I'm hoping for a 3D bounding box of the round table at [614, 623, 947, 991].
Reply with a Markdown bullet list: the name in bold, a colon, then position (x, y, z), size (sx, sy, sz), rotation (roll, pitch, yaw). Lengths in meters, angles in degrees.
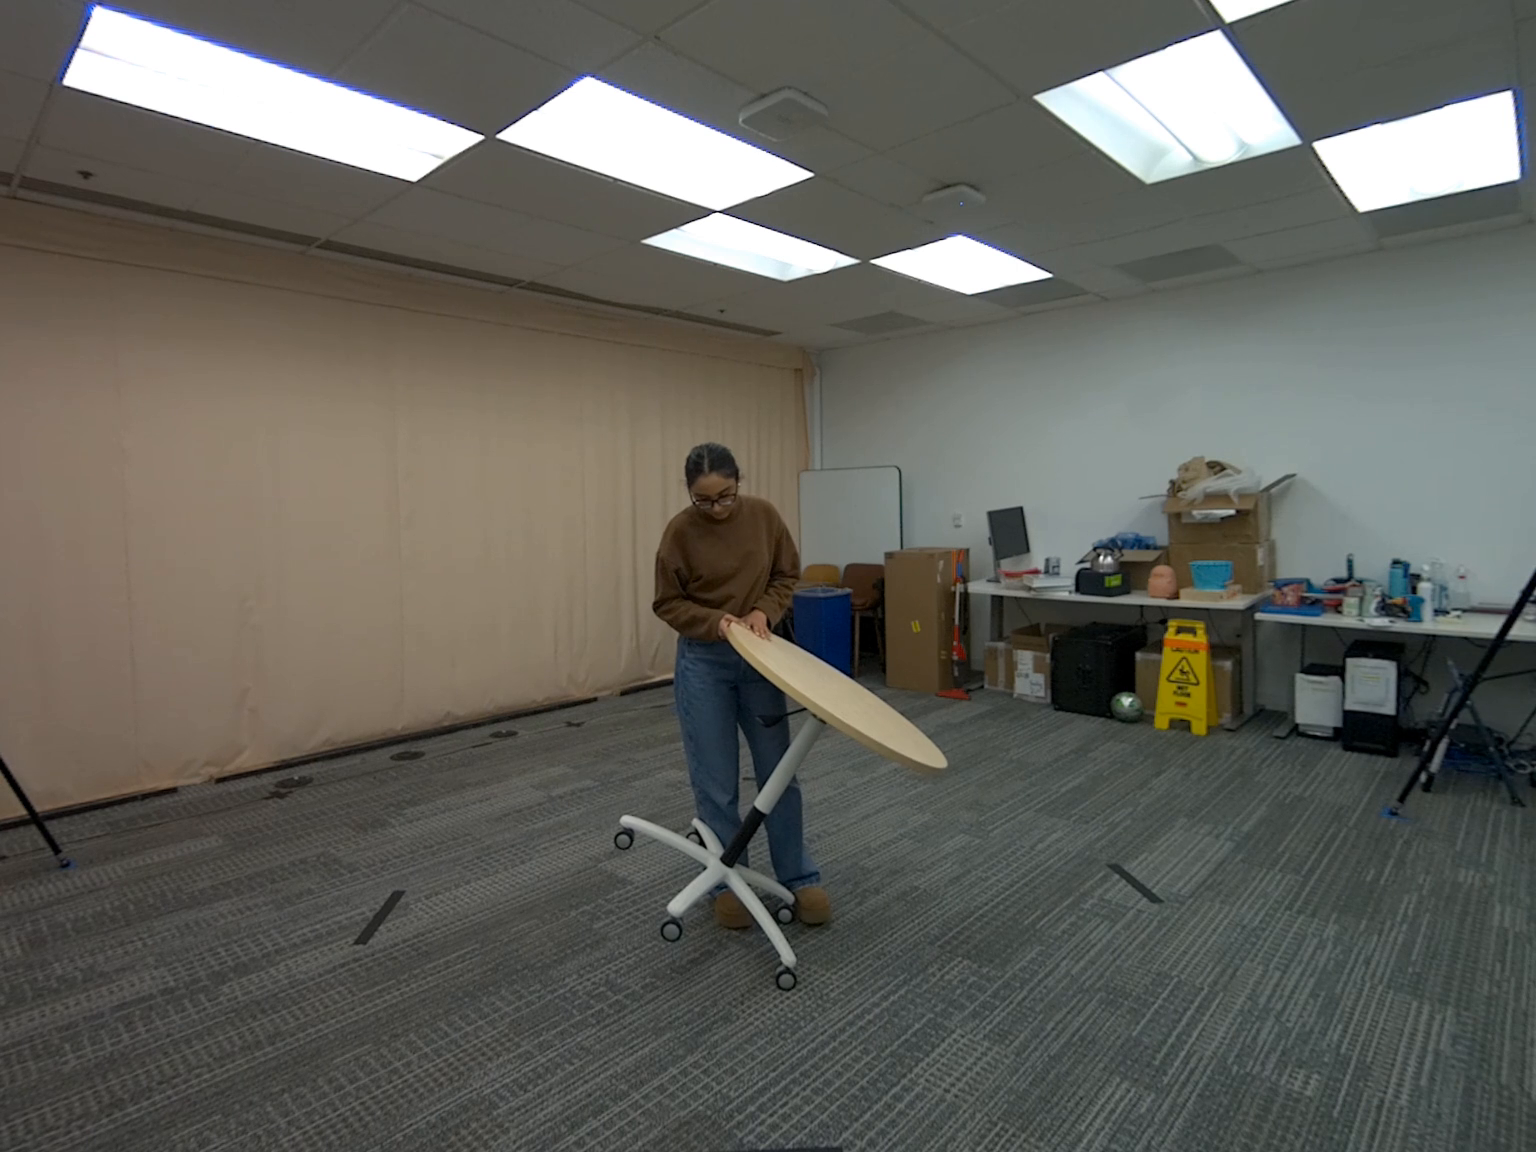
- **round table**: position (0.004, 0.687, 2.583), size (0.760, 0.794, 0.768), rotation (31, 5, -5)
